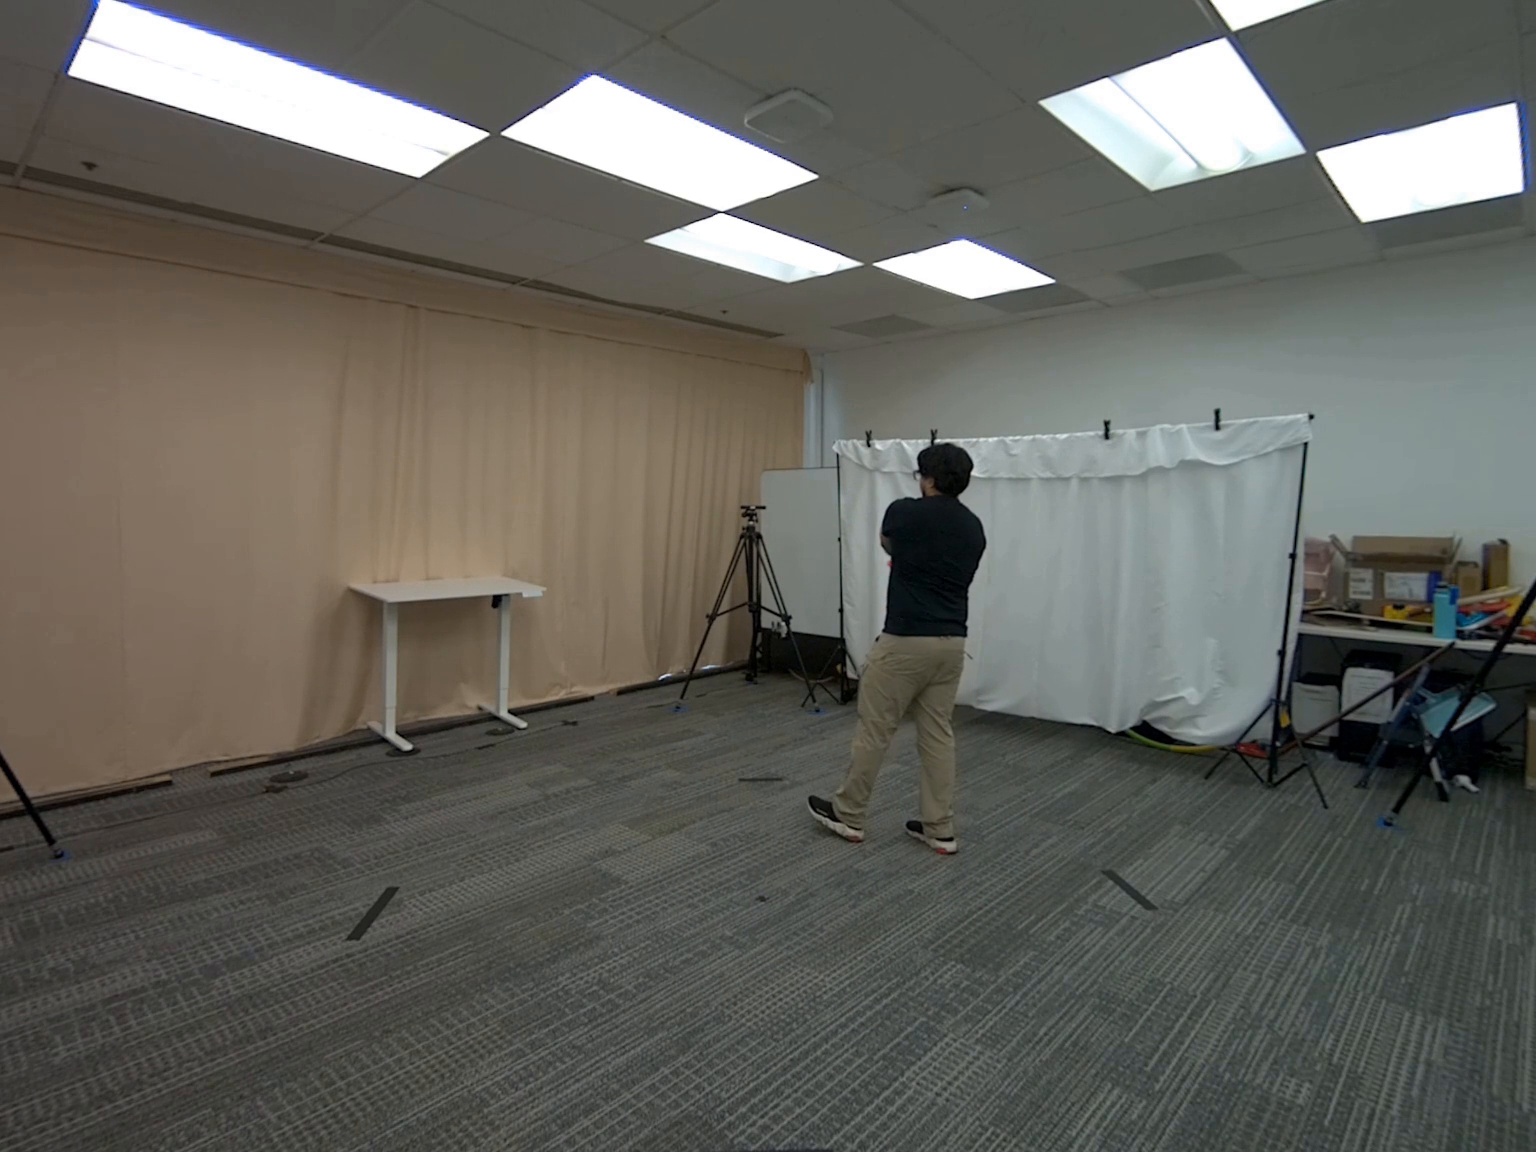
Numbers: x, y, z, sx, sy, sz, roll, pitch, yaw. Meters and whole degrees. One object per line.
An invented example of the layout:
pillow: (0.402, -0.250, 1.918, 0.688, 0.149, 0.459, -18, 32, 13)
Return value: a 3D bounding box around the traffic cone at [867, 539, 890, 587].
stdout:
traffic cone: (0.668, -0.041, 3.986, 0.212, 0.203, 0.371, 7, -1, 39)
